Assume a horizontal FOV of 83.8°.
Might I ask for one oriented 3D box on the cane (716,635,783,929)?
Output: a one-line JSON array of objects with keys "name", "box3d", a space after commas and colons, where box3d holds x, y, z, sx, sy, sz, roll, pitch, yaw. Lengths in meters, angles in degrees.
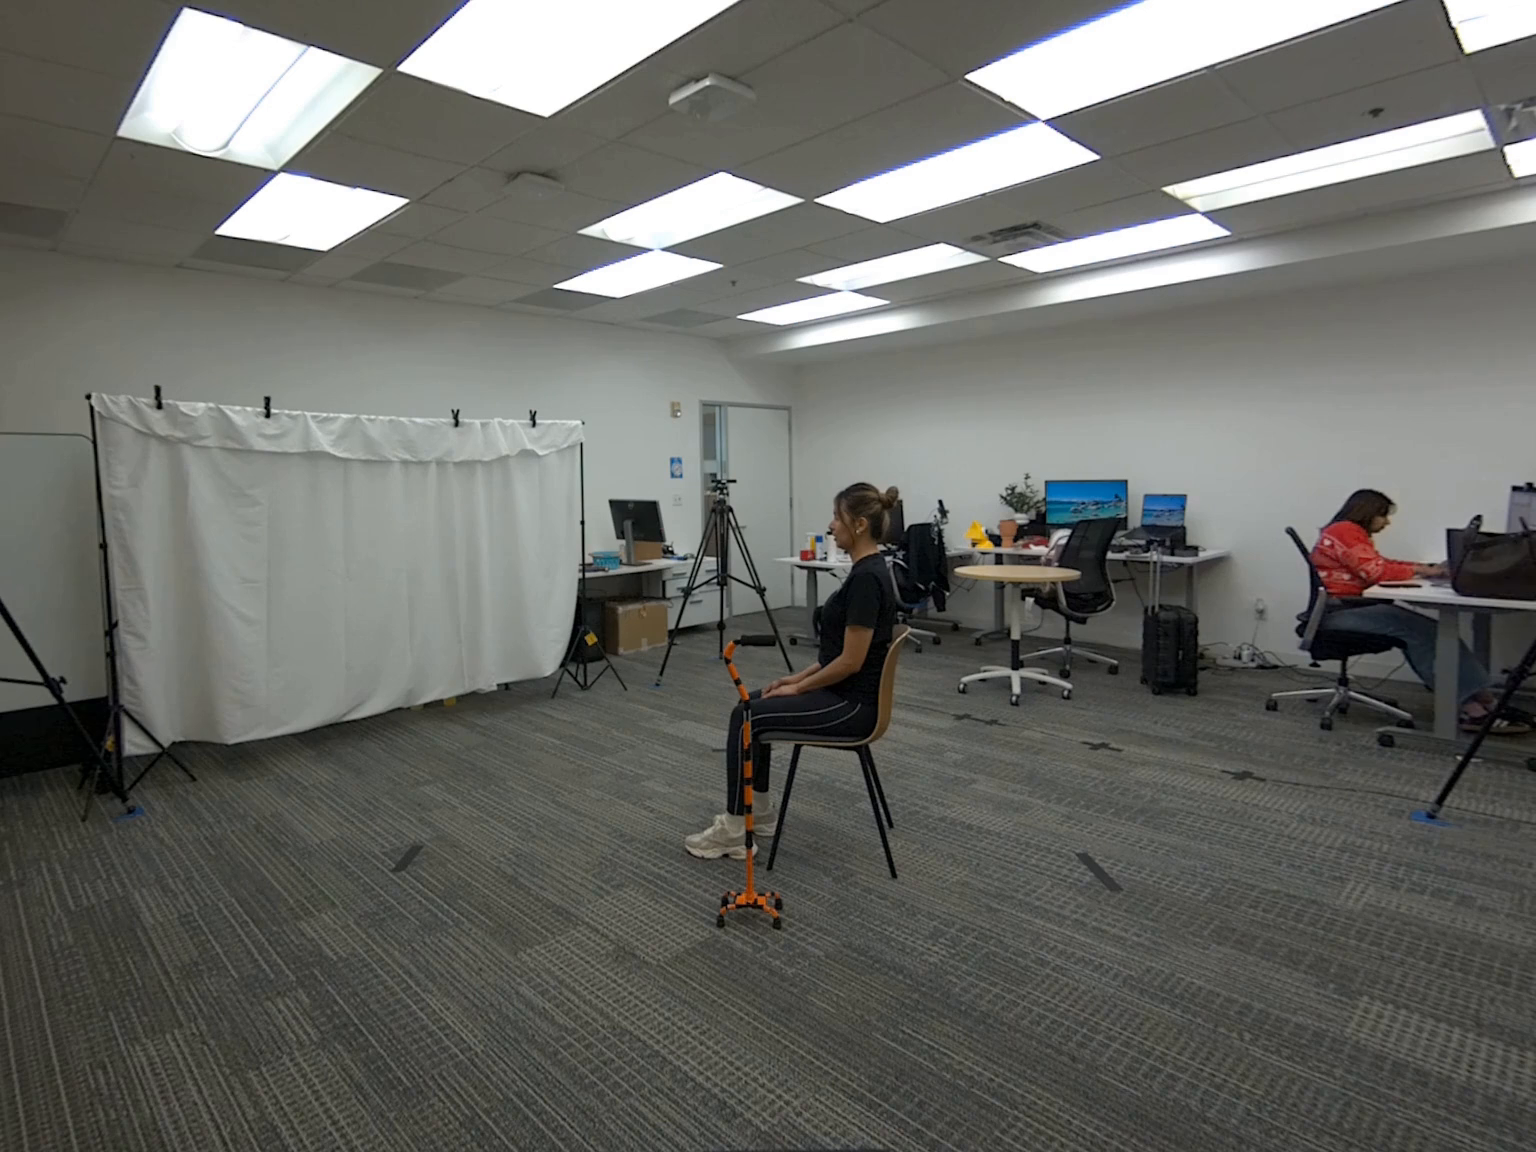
[{"name": "cane", "box3d": [-0.064, 0.641, 2.702, 0.207, 0.905, 0.151, -1, 3, 4]}]
